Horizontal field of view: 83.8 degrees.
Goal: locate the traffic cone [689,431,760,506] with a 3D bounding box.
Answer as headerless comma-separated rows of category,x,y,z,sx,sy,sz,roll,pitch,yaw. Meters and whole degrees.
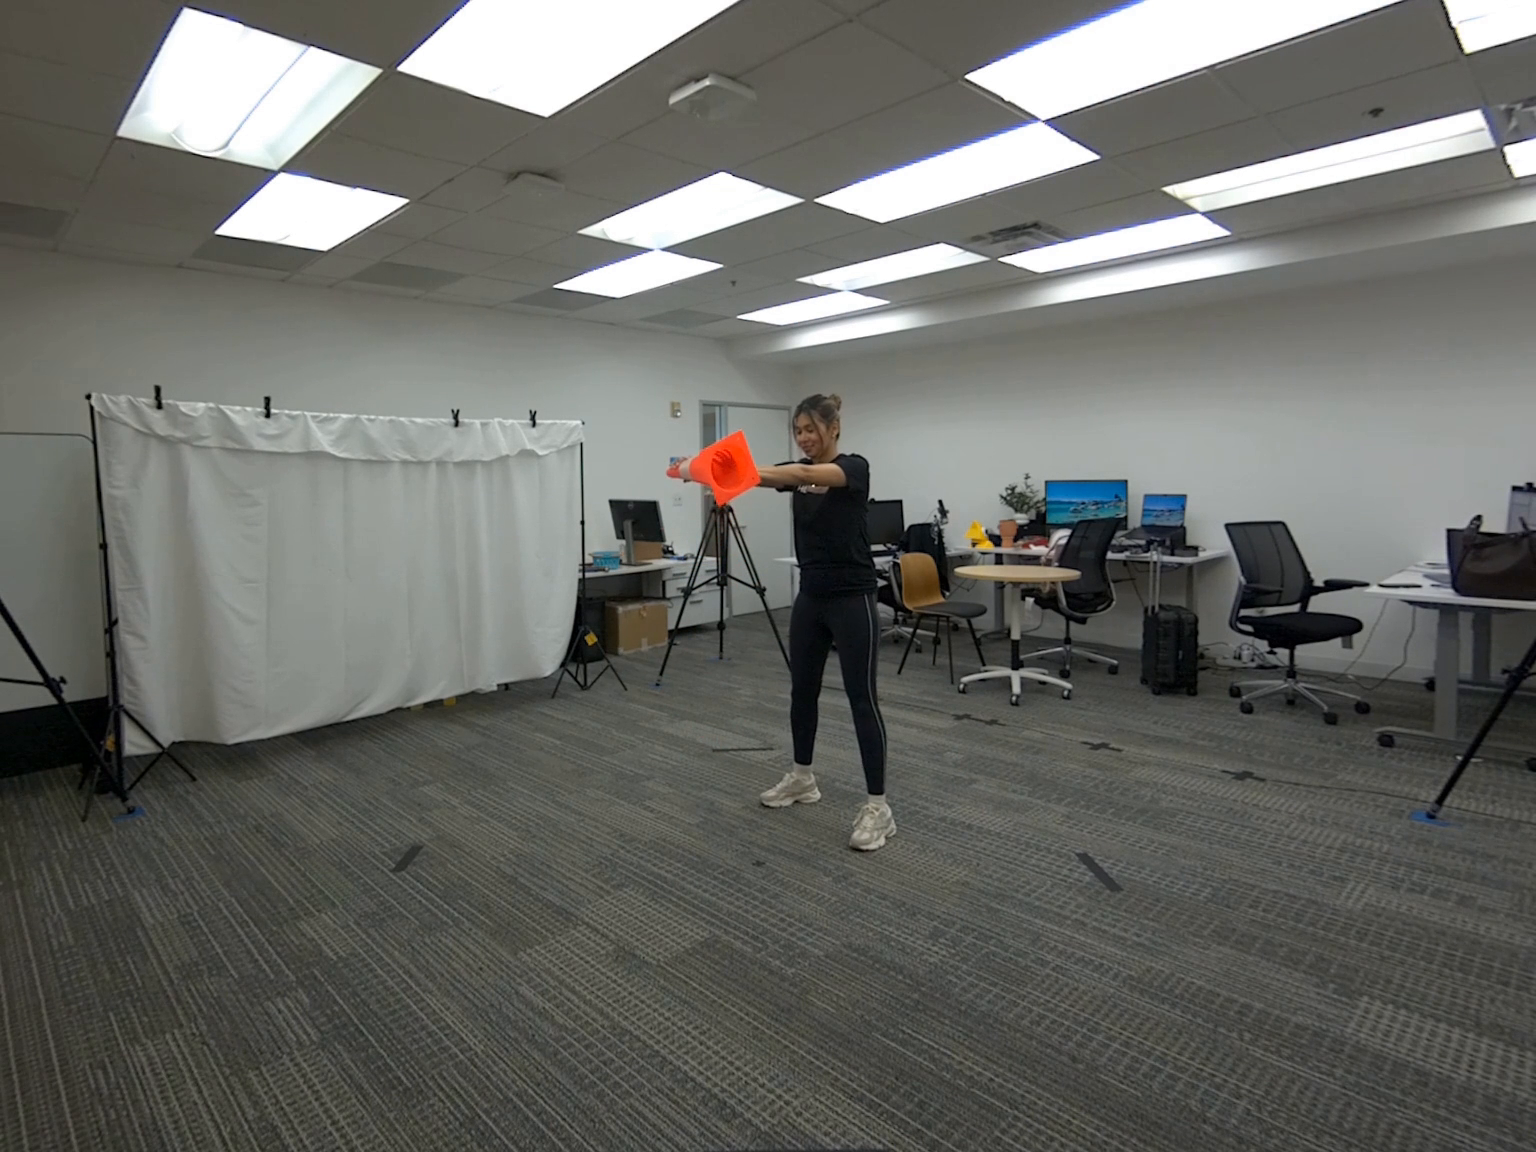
traffic cone,-0.240,-0.368,3.032,0.201,0.201,0.395,-33,21,-31
